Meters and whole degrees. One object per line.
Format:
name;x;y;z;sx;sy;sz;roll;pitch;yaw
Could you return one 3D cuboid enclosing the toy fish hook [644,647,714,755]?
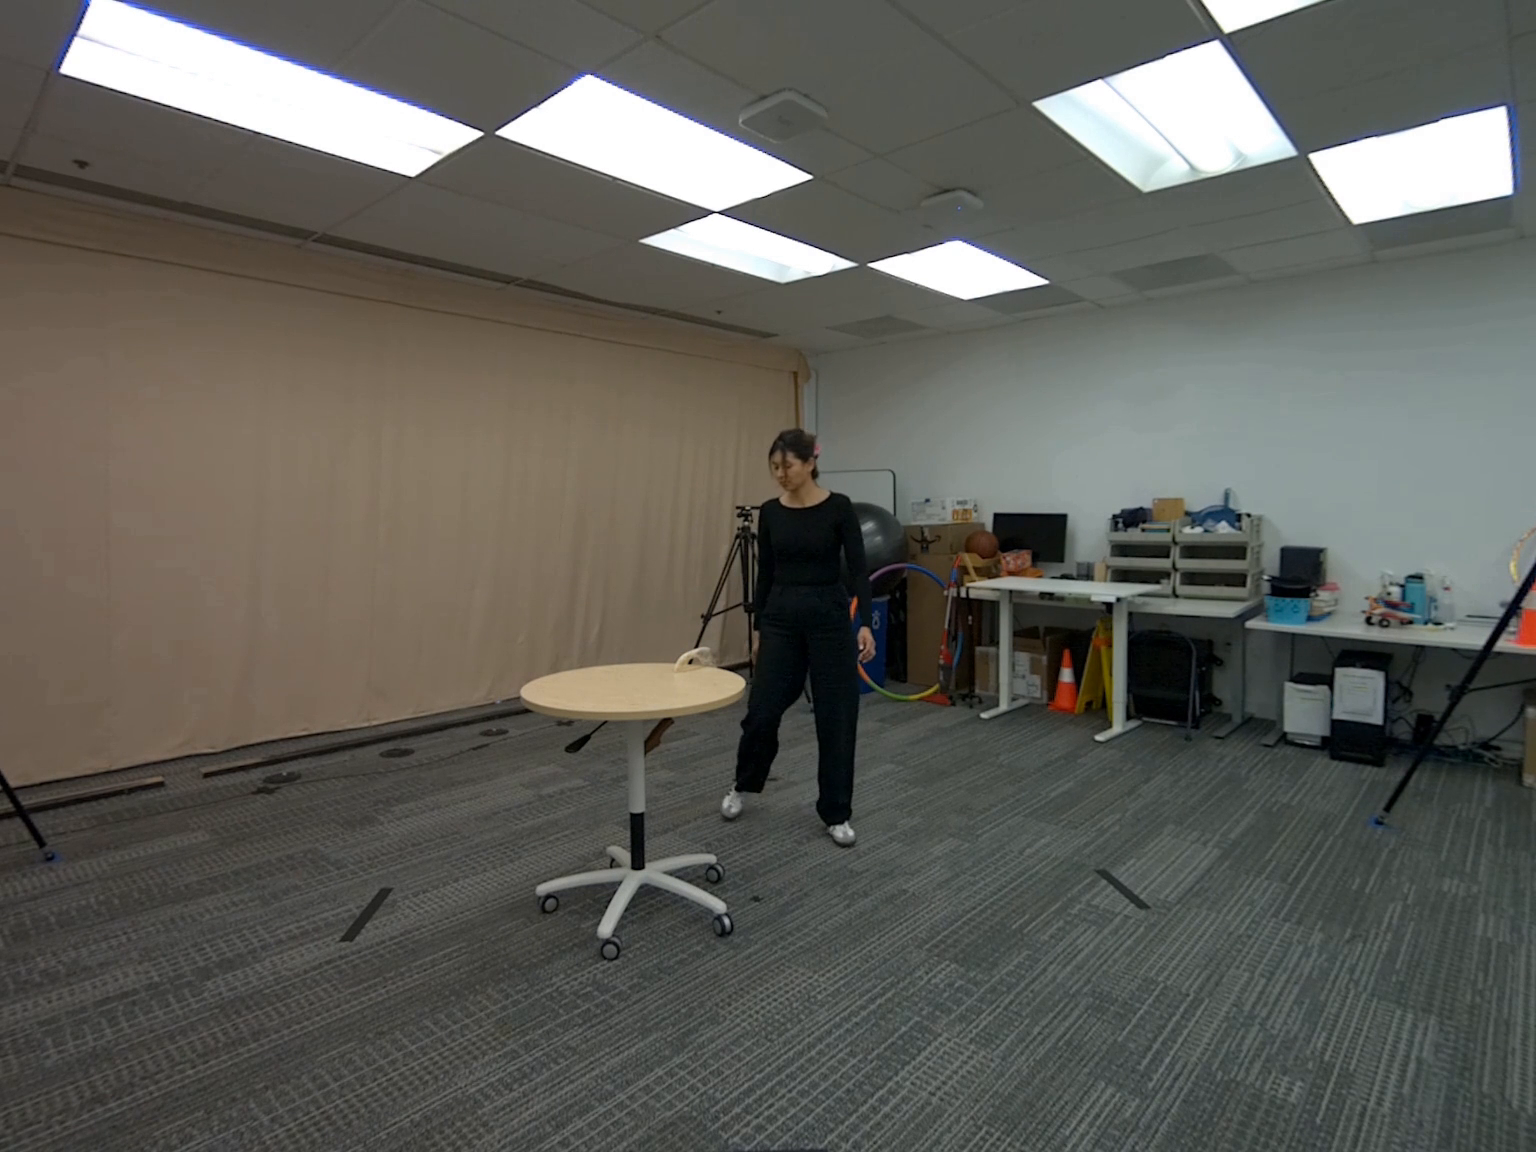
toy fish hook;-0.341;0.455;3.083;0.050;0.219;0.502;3;35;36
